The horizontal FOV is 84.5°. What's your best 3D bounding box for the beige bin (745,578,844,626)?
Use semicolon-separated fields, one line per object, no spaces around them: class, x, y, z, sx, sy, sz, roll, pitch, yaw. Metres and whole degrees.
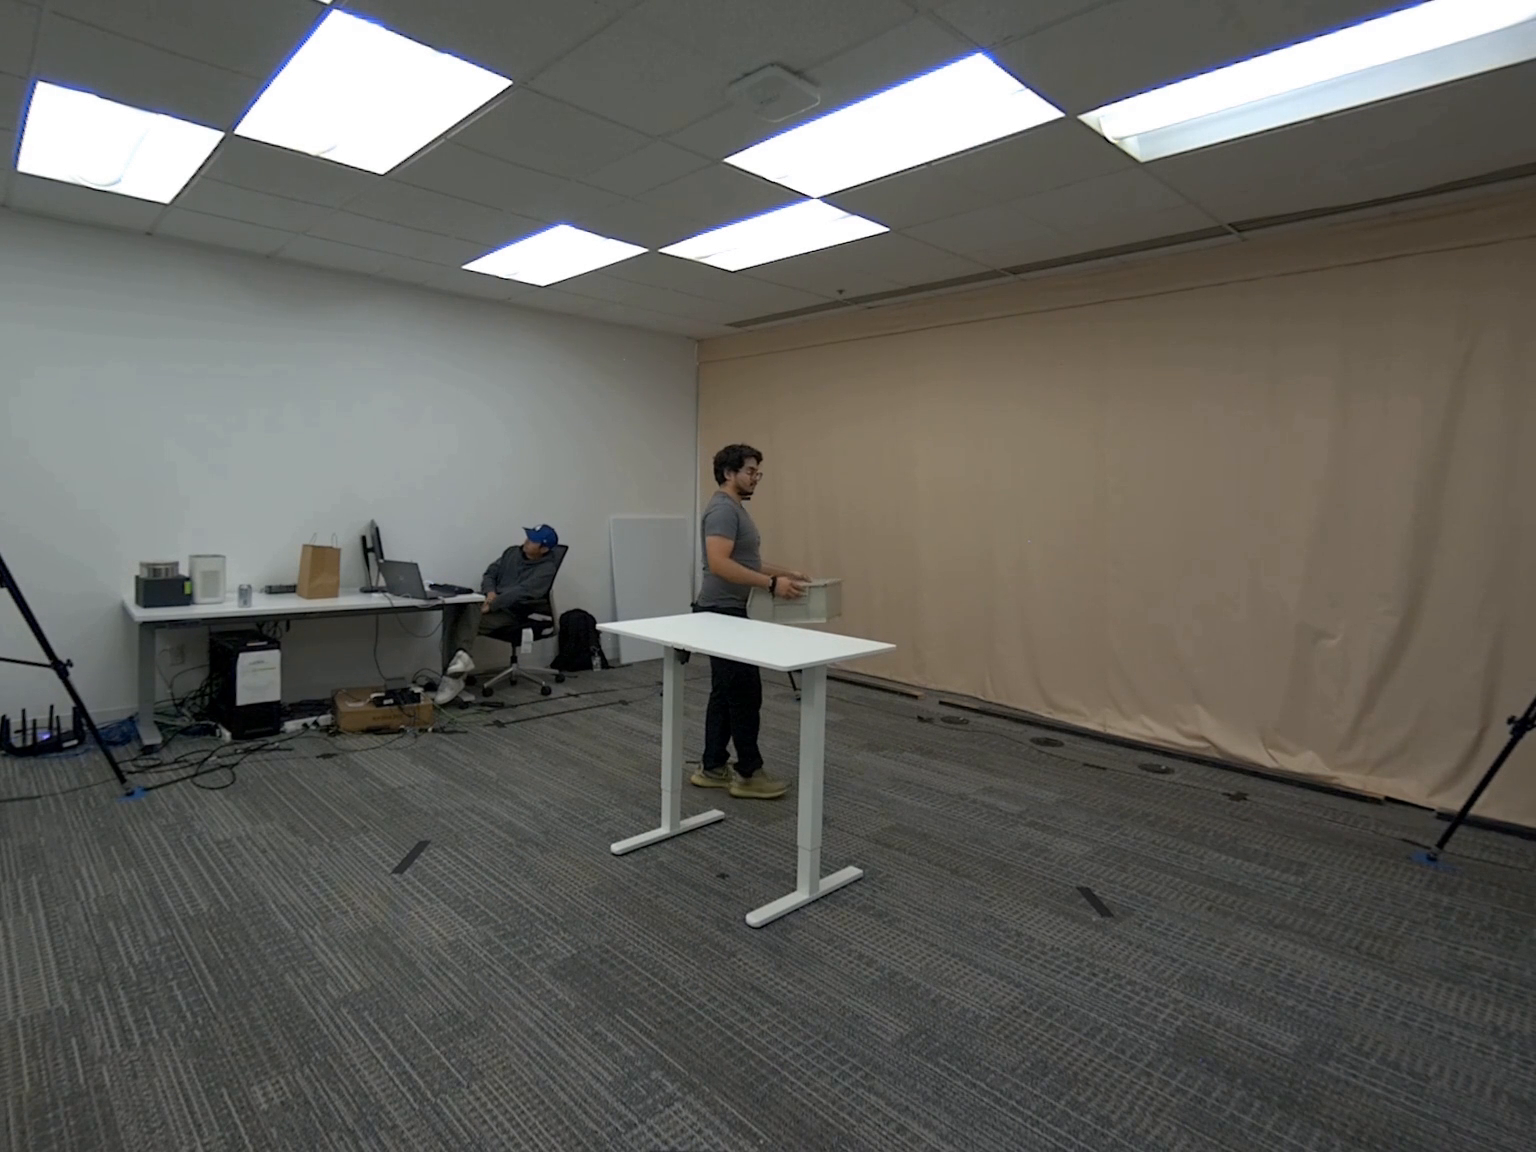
beige bin;0.130;0.111;3.987;0.382;0.189;0.417;1;2;15
